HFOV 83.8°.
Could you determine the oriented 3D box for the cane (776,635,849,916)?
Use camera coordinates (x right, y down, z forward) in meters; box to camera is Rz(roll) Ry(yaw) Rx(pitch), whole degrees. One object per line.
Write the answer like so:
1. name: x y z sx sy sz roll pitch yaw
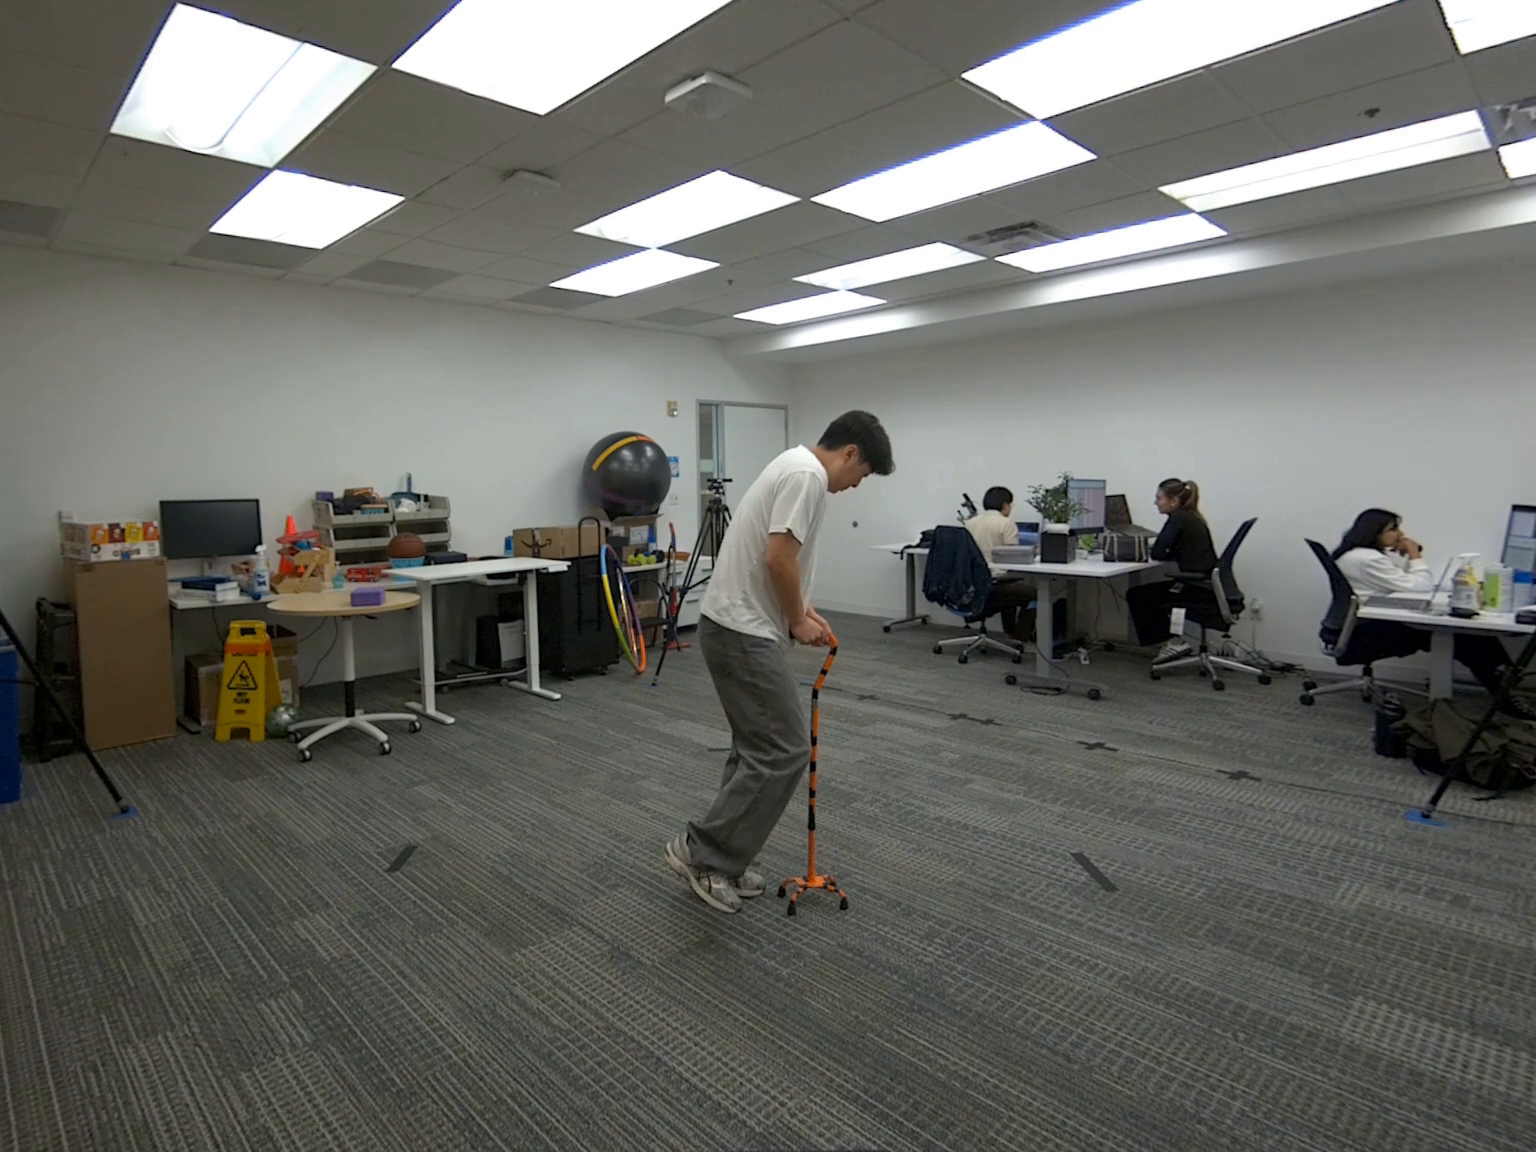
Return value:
1. cane: 0.159 0.620 2.791 0.204 0.905 0.154 0 3 -13
